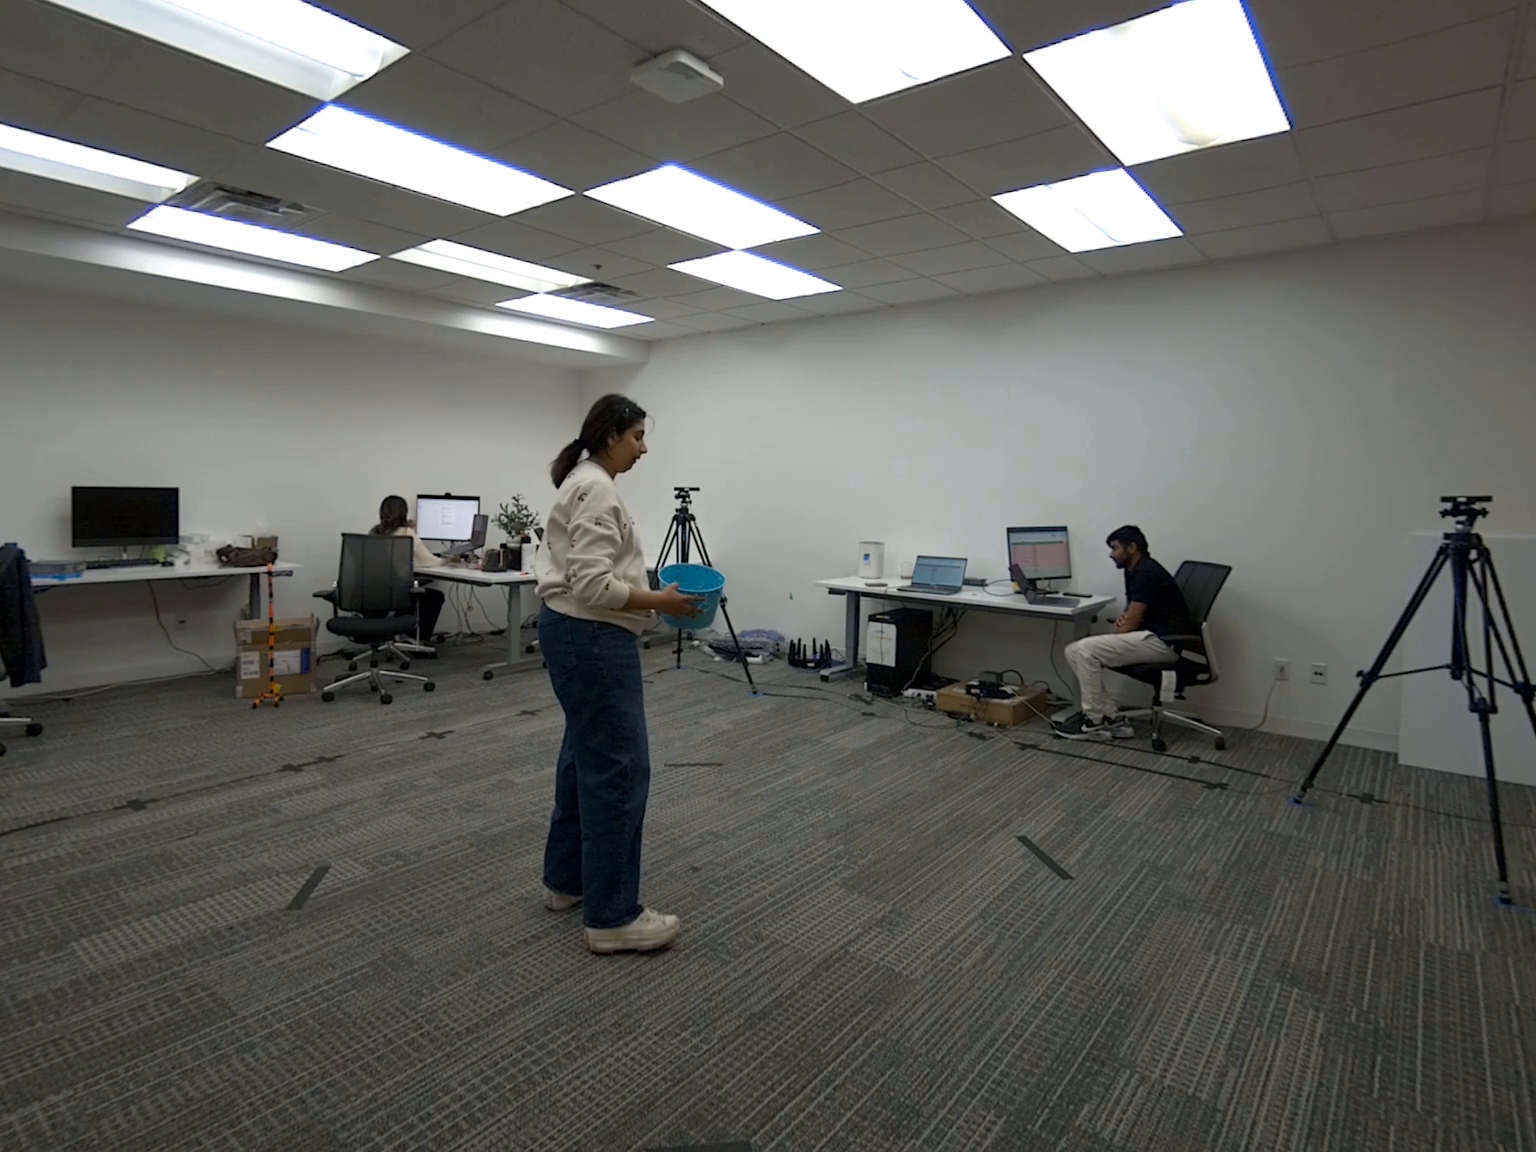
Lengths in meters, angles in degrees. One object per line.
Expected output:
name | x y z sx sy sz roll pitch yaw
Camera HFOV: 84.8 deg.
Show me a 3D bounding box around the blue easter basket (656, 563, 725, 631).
blue easter basket | -0.263 0.081 2.873 0.242 0.153 0.249 7 25 -5
